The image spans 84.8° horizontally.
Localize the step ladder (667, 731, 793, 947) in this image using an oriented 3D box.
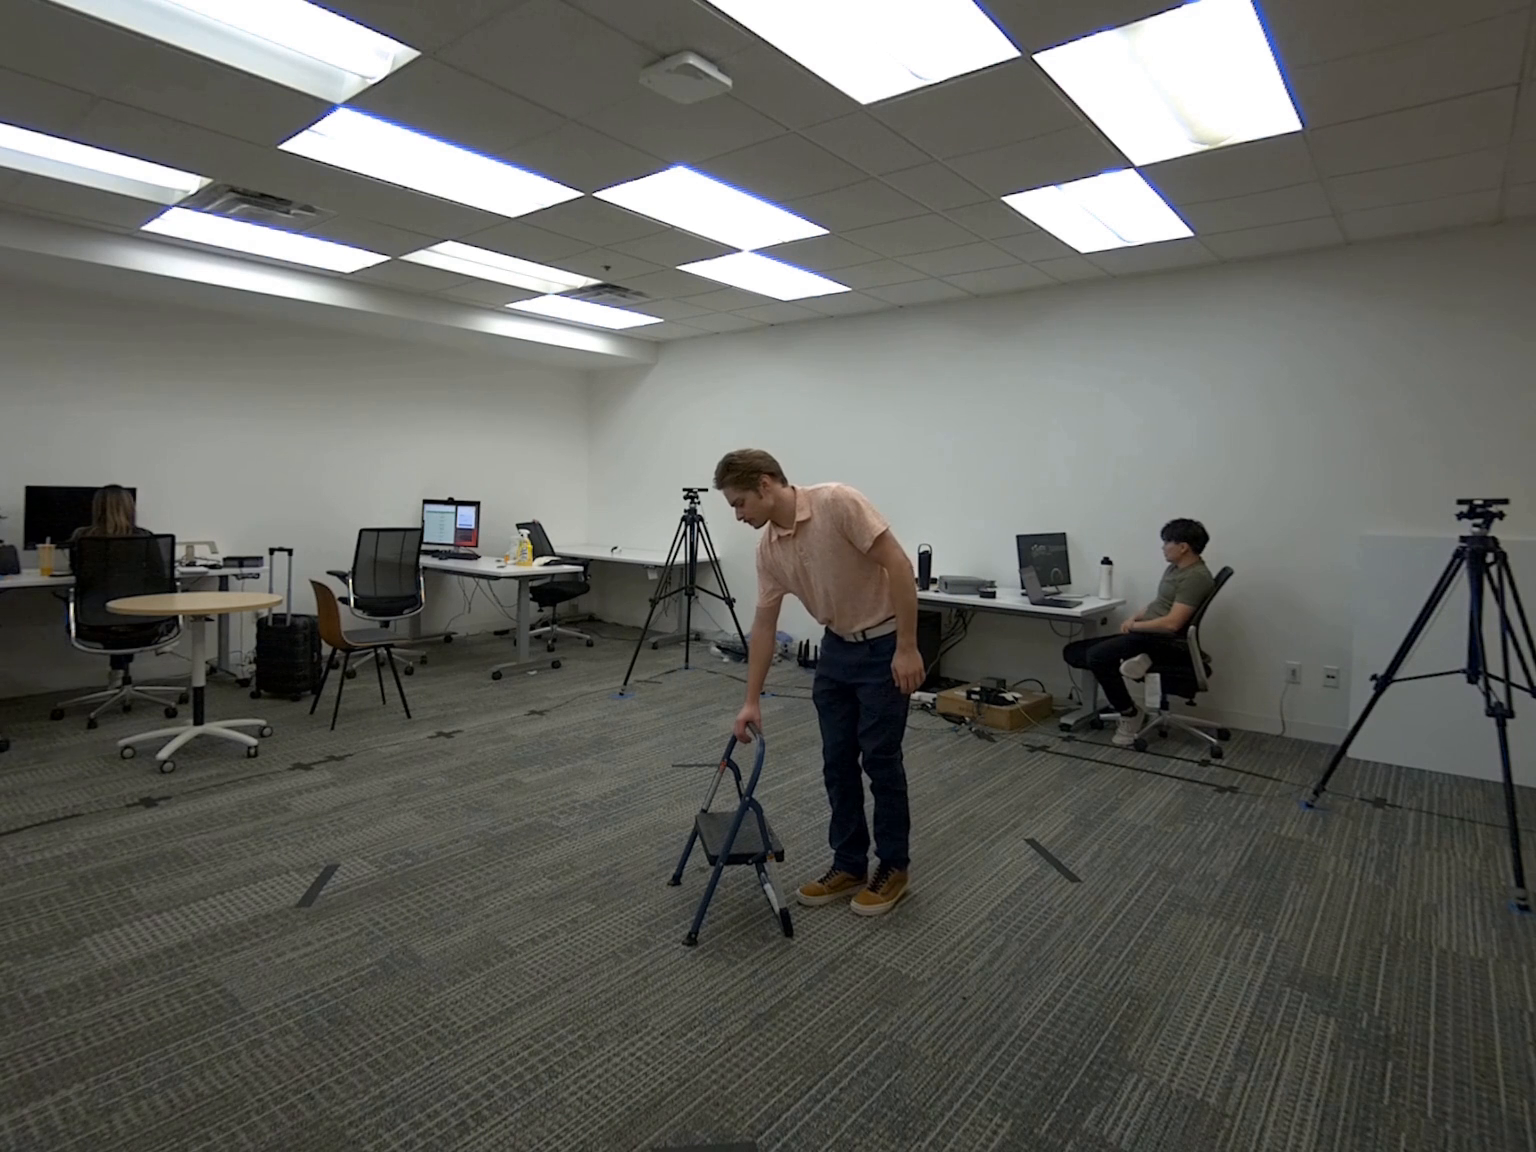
[{"bbox_3d":[-0.128,0.805,2.801,0.345,0.604,0.437,-1,4,-12],"label":"step ladder"}]
